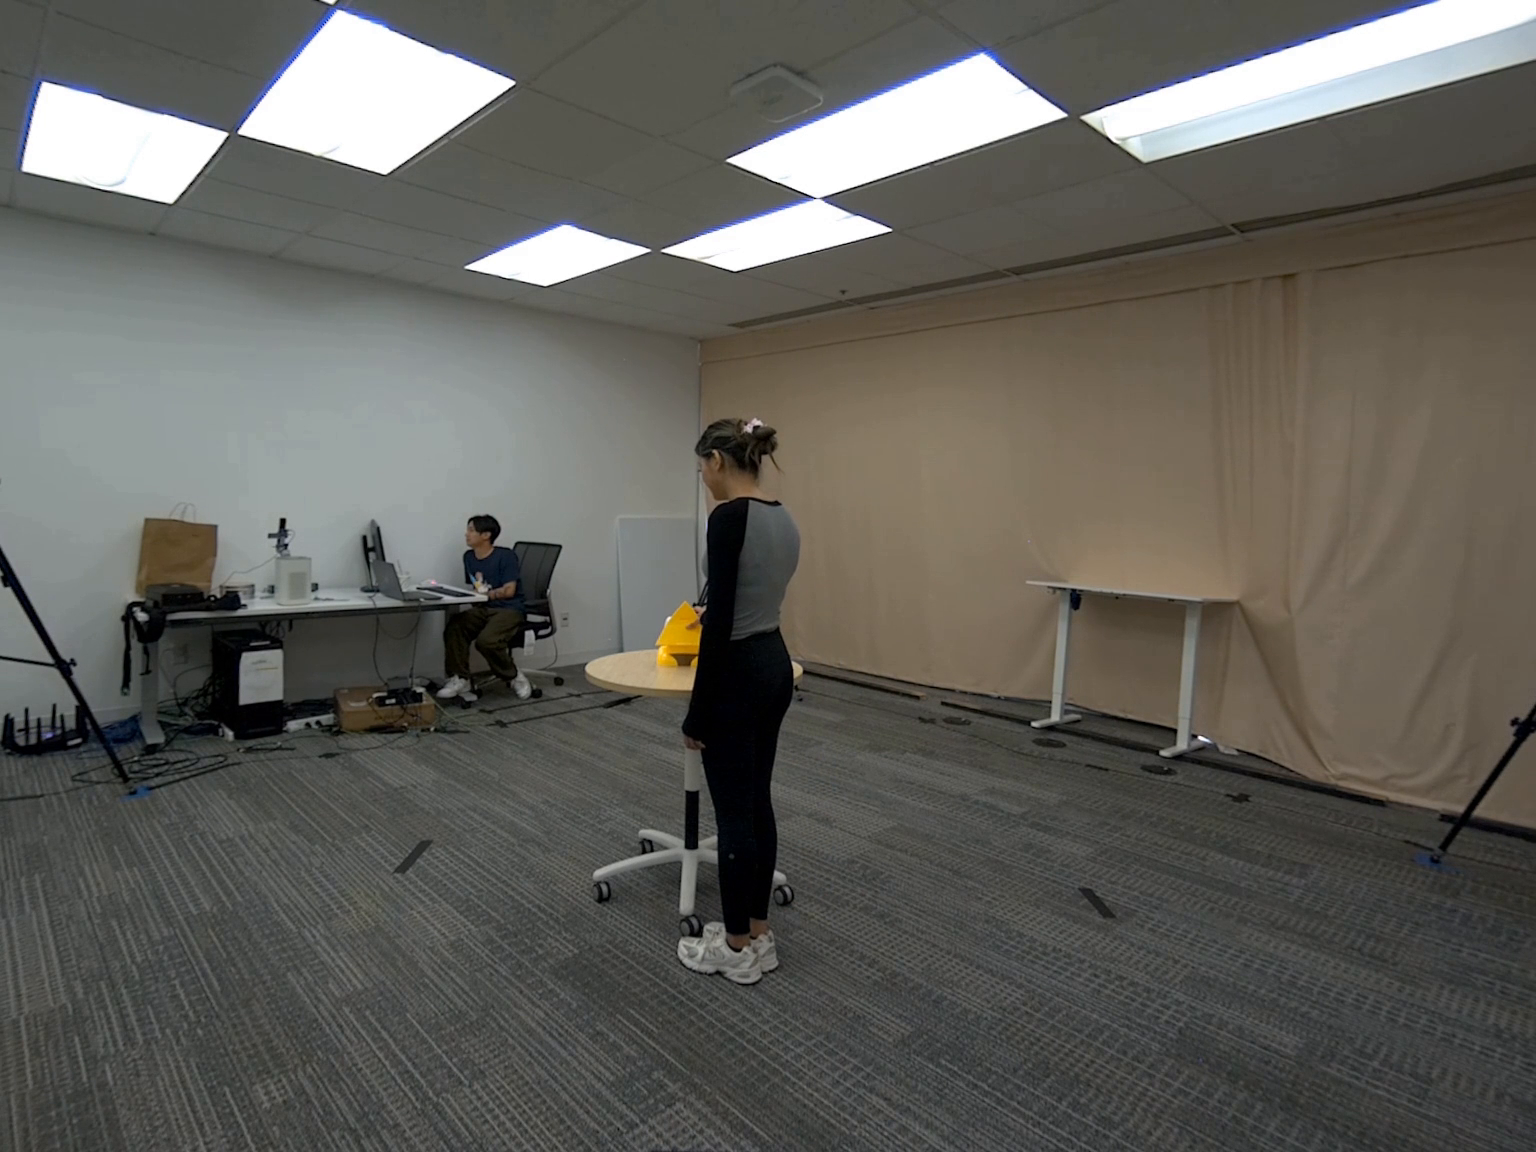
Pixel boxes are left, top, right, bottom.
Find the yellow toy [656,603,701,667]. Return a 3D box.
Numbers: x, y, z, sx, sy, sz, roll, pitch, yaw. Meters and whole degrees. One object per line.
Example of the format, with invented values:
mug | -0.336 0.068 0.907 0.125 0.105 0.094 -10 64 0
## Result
yellow toy | -0.315 0.202 3.056 0.204 0.230 0.194 1 4 -5
